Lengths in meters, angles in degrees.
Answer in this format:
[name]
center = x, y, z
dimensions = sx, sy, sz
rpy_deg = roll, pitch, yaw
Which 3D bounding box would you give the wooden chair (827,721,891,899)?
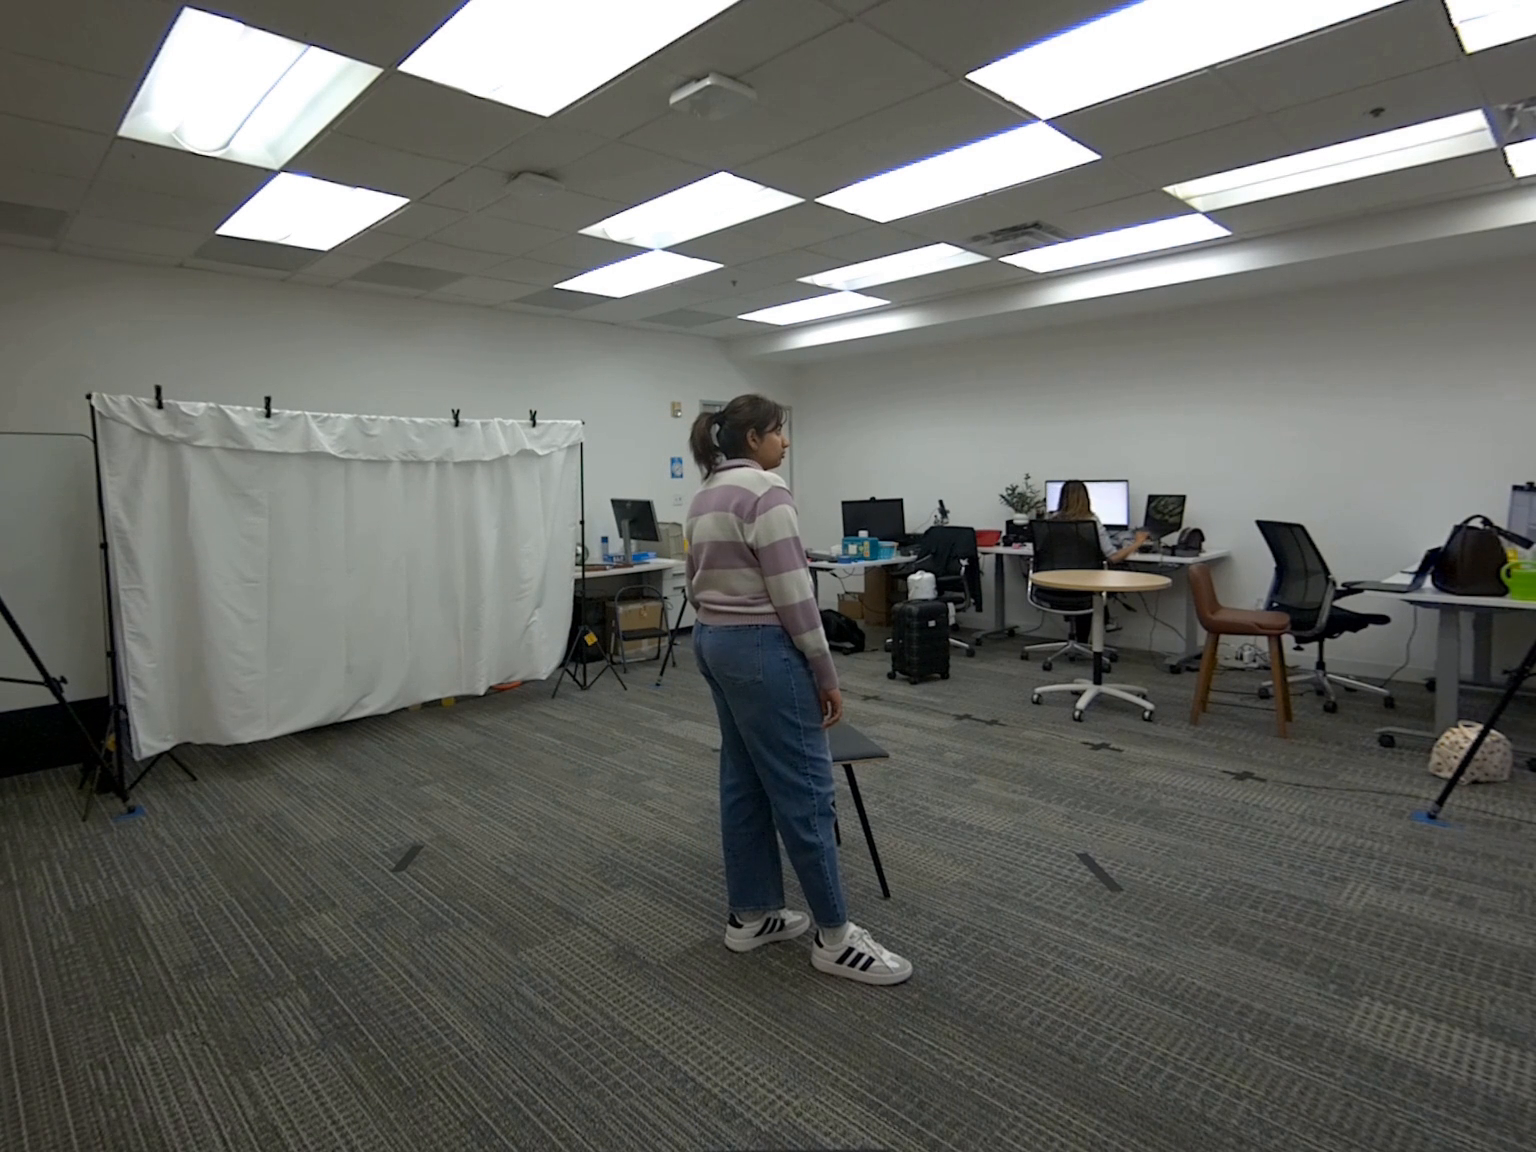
[wooden chair]
center = 0.129, 0.631, 2.979
dimensions = 0.517, 0.873, 0.486
rpy_deg = -6, 5, -15
